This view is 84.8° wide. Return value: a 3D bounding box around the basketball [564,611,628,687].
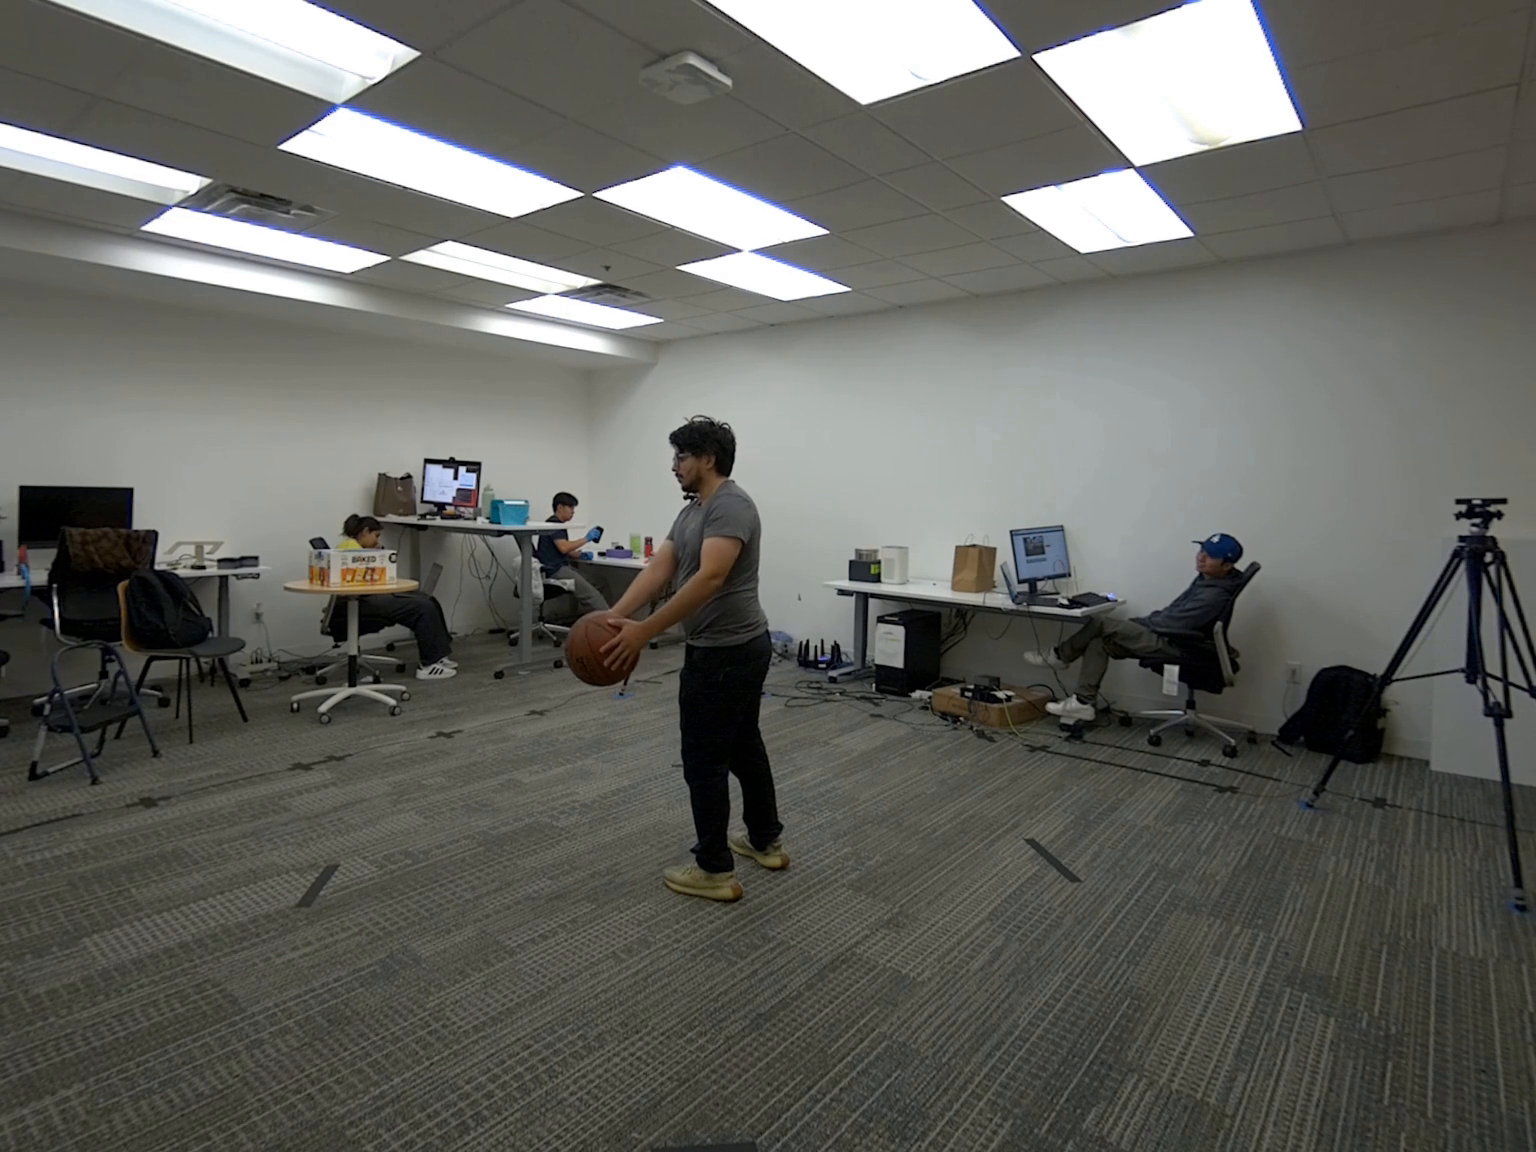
[{"bbox_3d":[-0.537,0.227,2.691,0.235,0.235,0.237,1,4,-2],"label":"basketball"}]
